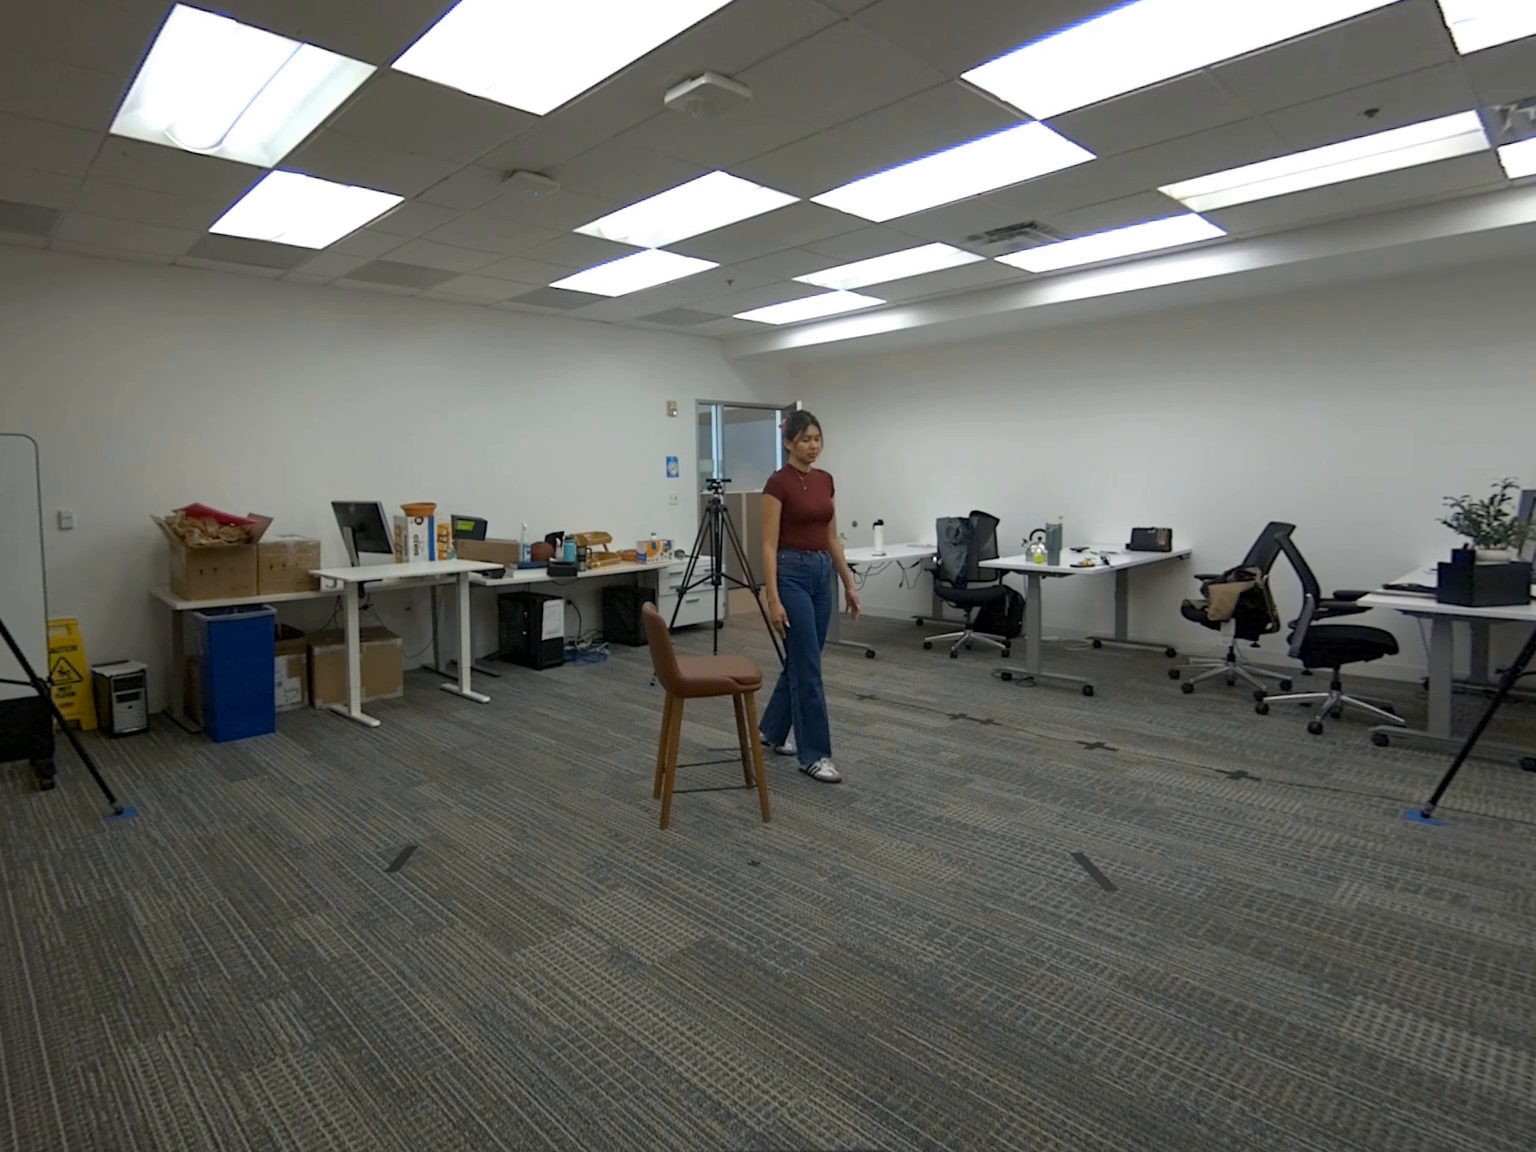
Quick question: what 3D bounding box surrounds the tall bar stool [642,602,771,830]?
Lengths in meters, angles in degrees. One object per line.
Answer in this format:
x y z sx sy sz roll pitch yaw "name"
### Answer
-0.267 0.558 3.619 0.463 0.887 0.463 -3 4 -11 "tall bar stool"
